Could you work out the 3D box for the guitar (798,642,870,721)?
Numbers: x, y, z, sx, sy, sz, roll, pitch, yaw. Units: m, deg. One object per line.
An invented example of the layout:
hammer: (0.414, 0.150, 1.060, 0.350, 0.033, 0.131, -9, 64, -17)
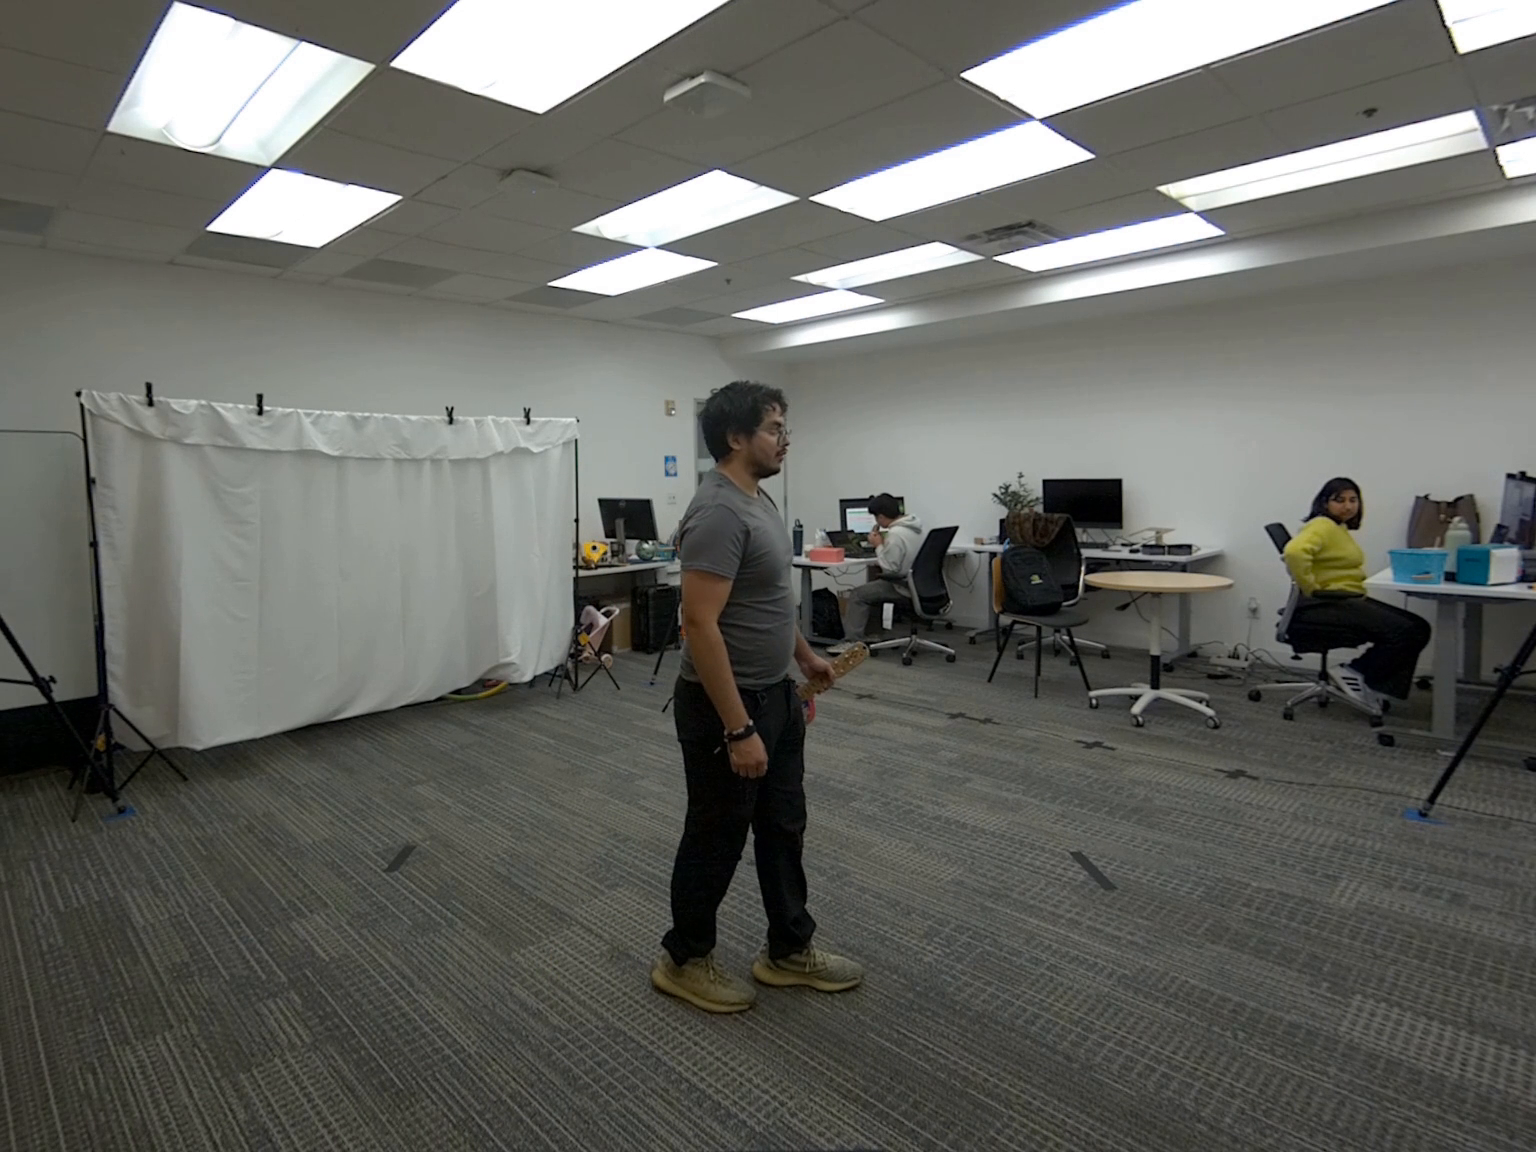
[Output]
guitar: (0.123, 0.392, 2.596, 0.500, 0.198, 0.069, -29, -21, 11)
